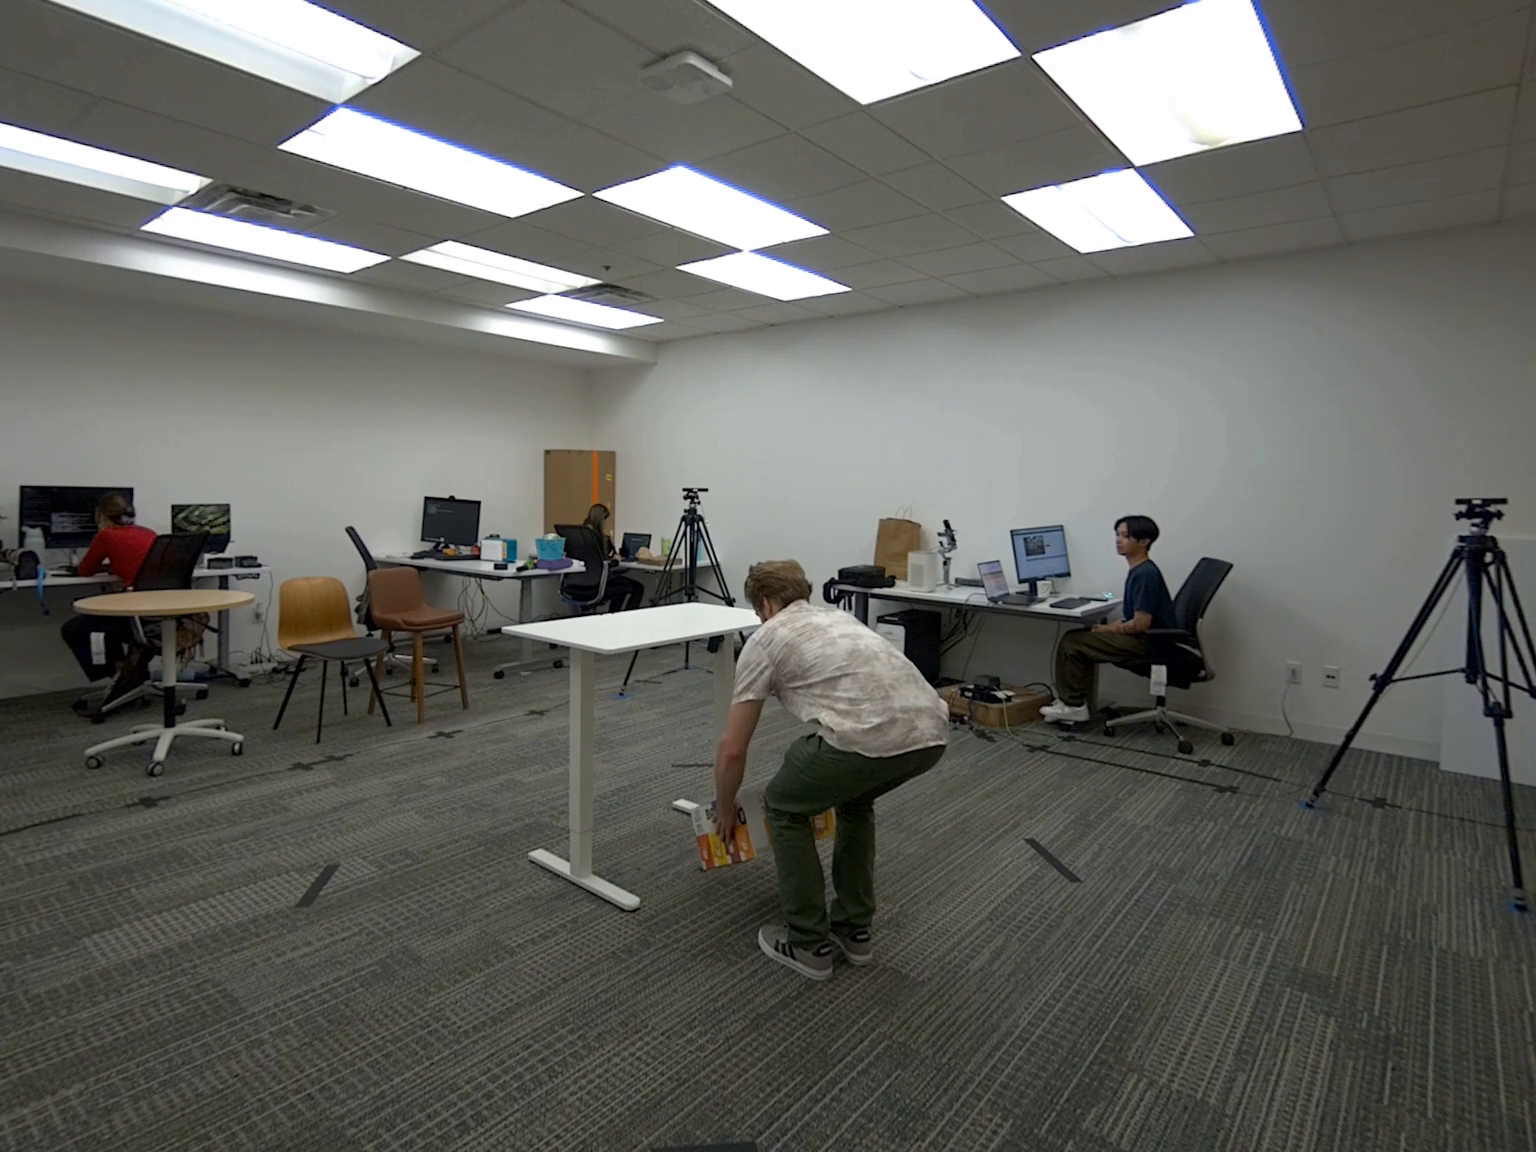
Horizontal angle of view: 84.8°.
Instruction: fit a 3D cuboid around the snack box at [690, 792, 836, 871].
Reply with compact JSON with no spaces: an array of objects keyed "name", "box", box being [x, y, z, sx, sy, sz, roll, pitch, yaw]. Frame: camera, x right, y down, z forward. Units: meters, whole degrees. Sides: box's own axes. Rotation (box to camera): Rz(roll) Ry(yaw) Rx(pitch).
[{"name":"snack box","box":[-0.001,0.827,2.894,0.394,0.210,0.343,-3,-20,-35]}]
